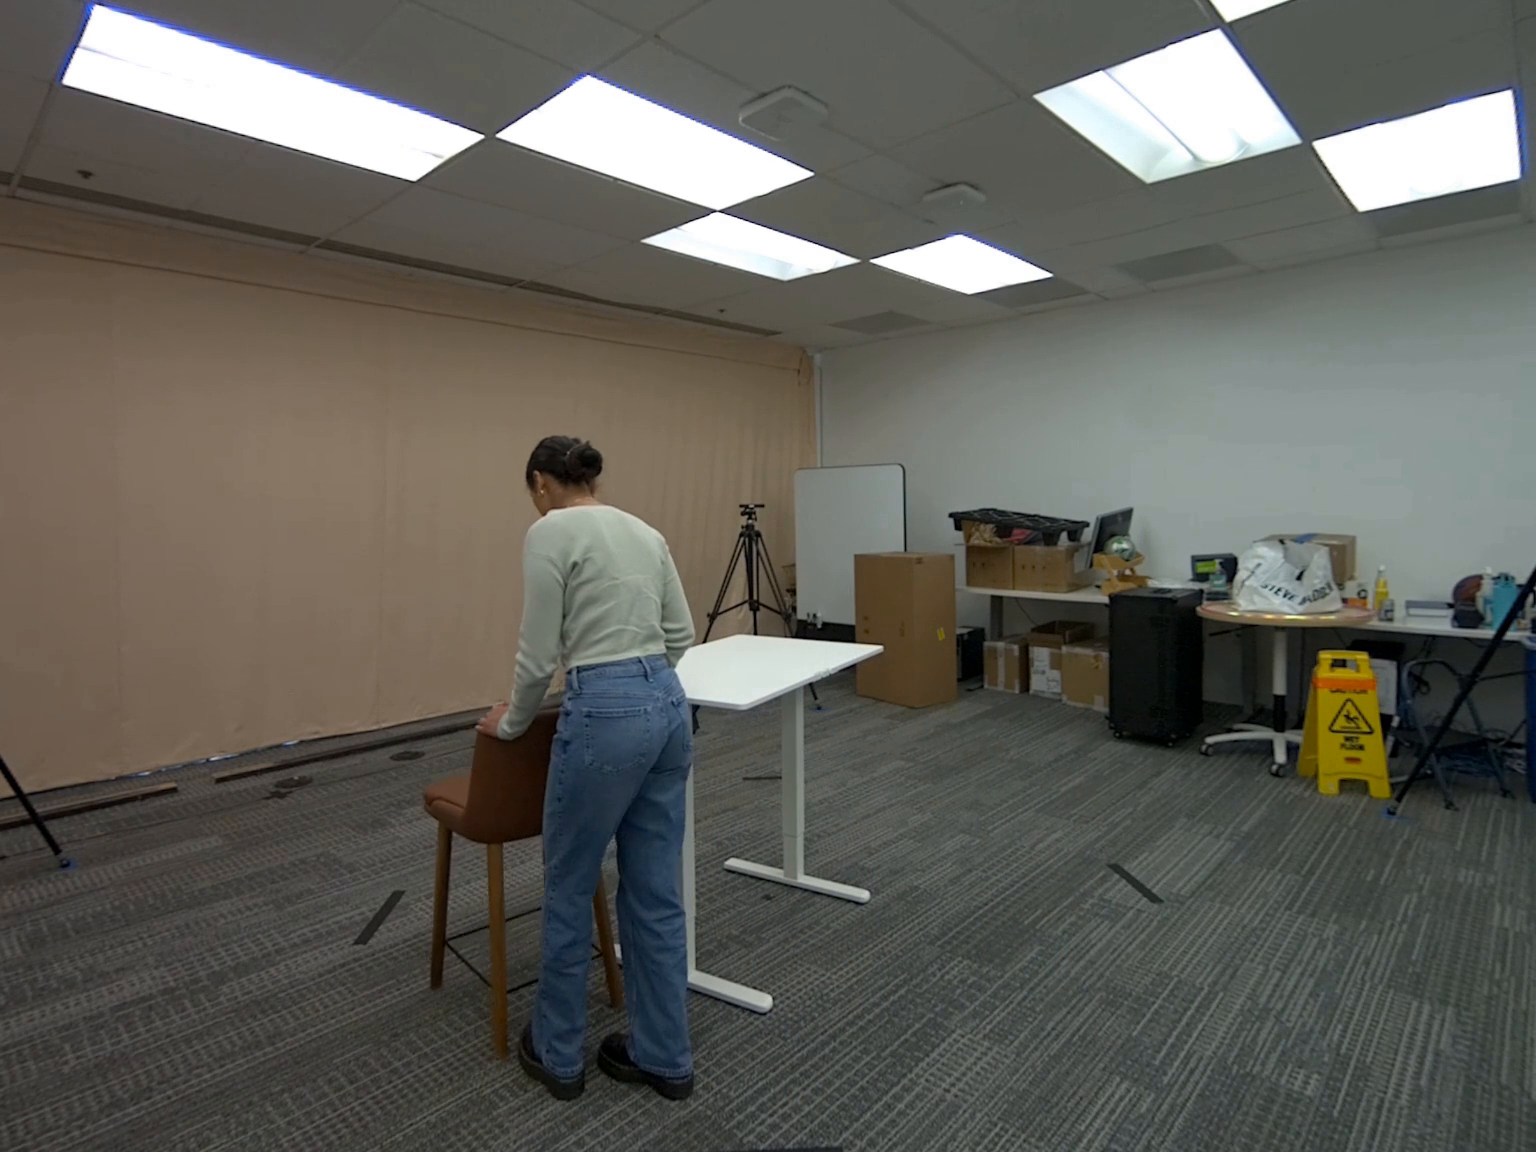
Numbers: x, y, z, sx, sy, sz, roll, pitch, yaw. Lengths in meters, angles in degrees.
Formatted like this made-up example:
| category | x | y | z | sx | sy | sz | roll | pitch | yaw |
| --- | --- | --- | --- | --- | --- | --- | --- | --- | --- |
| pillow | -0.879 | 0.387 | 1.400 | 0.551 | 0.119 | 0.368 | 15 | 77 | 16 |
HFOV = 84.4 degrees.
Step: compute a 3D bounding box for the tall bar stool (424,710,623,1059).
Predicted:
| category | x | y | z | sx | sy | sz | roll | pitch | yaw |
| --- | --- | --- | --- | --- | --- | --- | --- | --- | --- |
| tall bar stool | -0.700 | 0.771 | 2.388 | 0.443 | 0.887 | 0.483 | -5 | 6 | -40 |
